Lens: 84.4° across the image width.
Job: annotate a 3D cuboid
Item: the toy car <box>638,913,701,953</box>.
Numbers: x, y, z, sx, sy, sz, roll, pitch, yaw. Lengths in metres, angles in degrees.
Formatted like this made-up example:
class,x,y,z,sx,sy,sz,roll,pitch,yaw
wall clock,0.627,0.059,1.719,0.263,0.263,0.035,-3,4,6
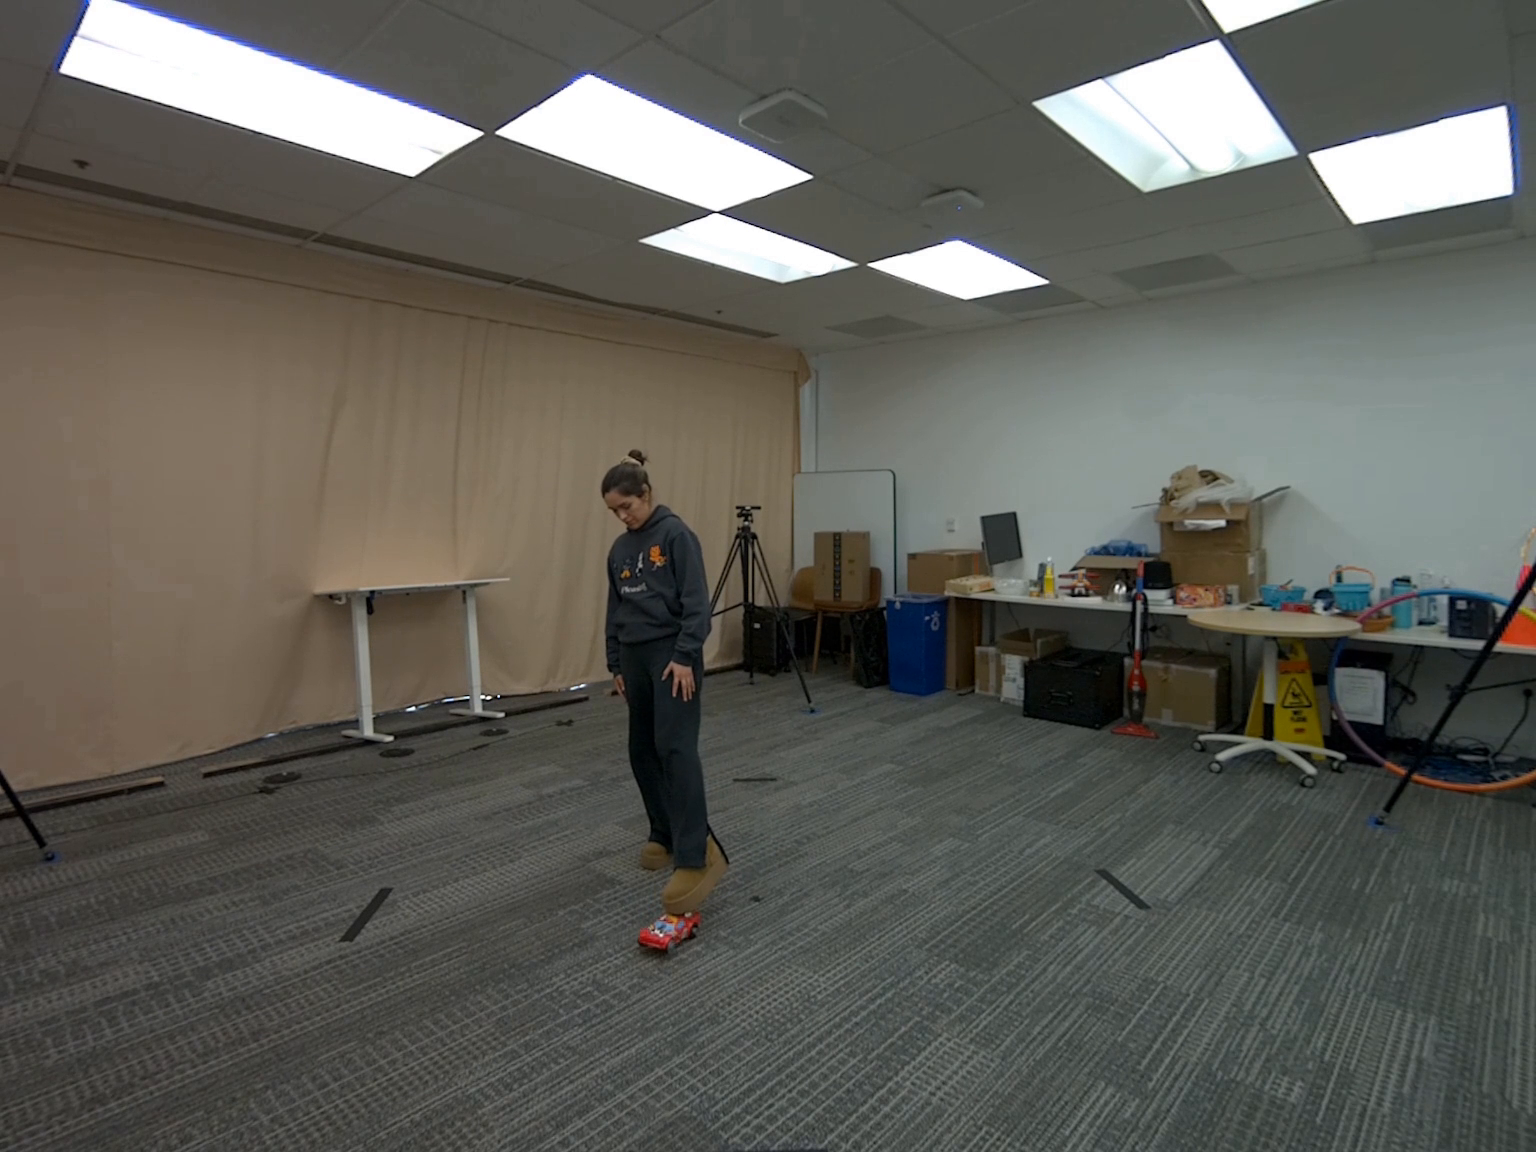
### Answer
class,x,y,z,sx,sy,sz,roll,pitch,yaw
toy car,-0.289,1.138,2.690,0.134,0.083,0.248,2,8,28
